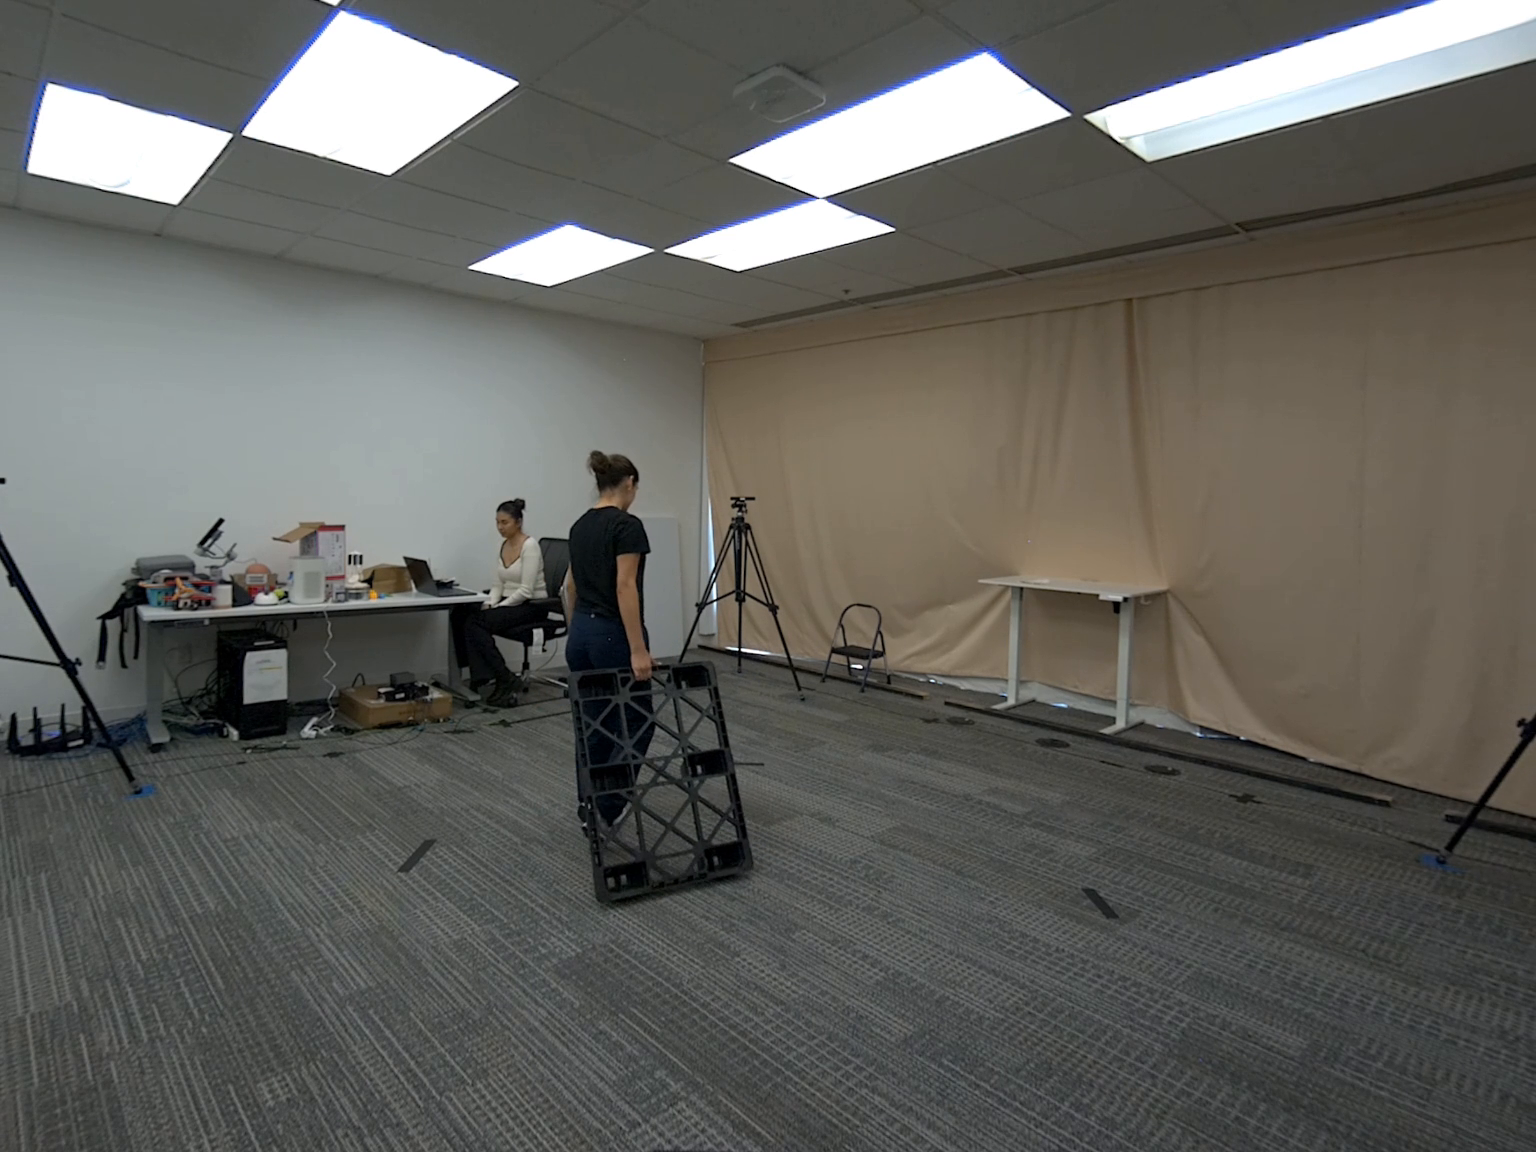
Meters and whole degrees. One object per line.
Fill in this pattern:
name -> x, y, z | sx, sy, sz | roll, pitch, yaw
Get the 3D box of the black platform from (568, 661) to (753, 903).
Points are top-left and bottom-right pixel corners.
black platform -> -0.418, 0.736, 3.129 | 0.593, 0.820, 0.143 | -1, -24, -29
